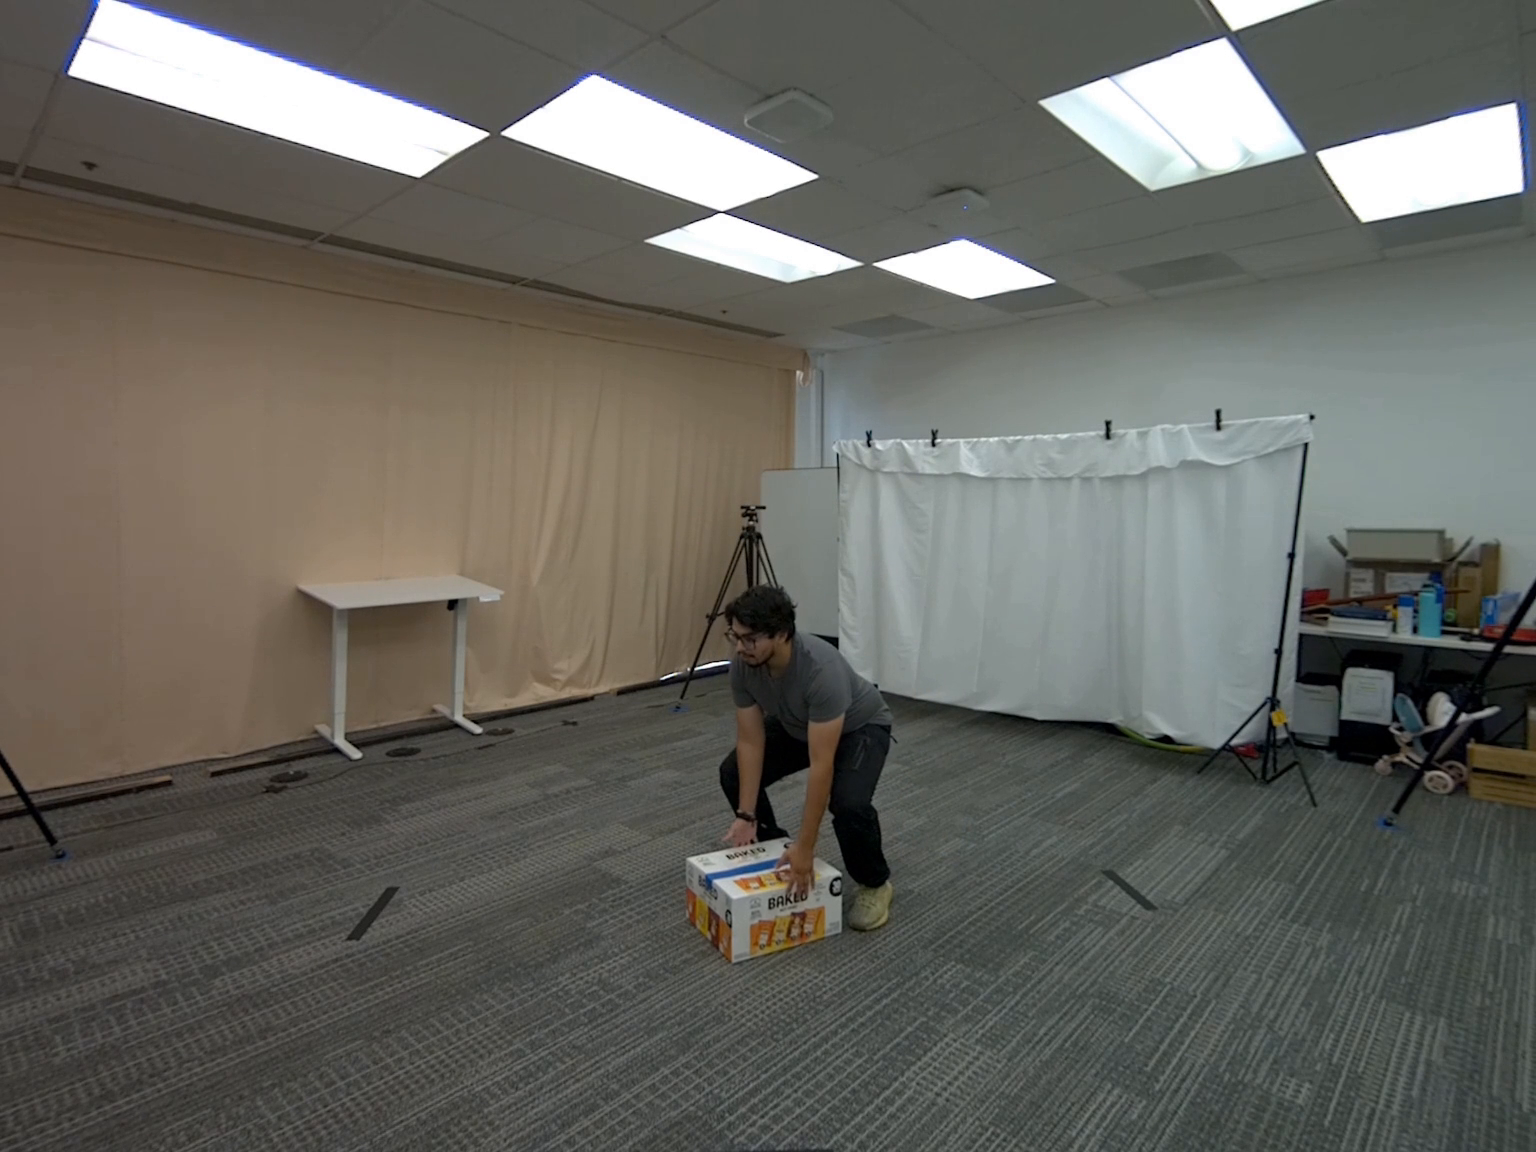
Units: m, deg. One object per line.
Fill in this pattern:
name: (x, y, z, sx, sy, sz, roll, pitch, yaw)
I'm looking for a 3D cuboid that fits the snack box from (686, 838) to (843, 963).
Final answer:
snack box: (-0.015, 1.056, 2.783, 0.395, 0.205, 0.350, -2, 5, -29)
